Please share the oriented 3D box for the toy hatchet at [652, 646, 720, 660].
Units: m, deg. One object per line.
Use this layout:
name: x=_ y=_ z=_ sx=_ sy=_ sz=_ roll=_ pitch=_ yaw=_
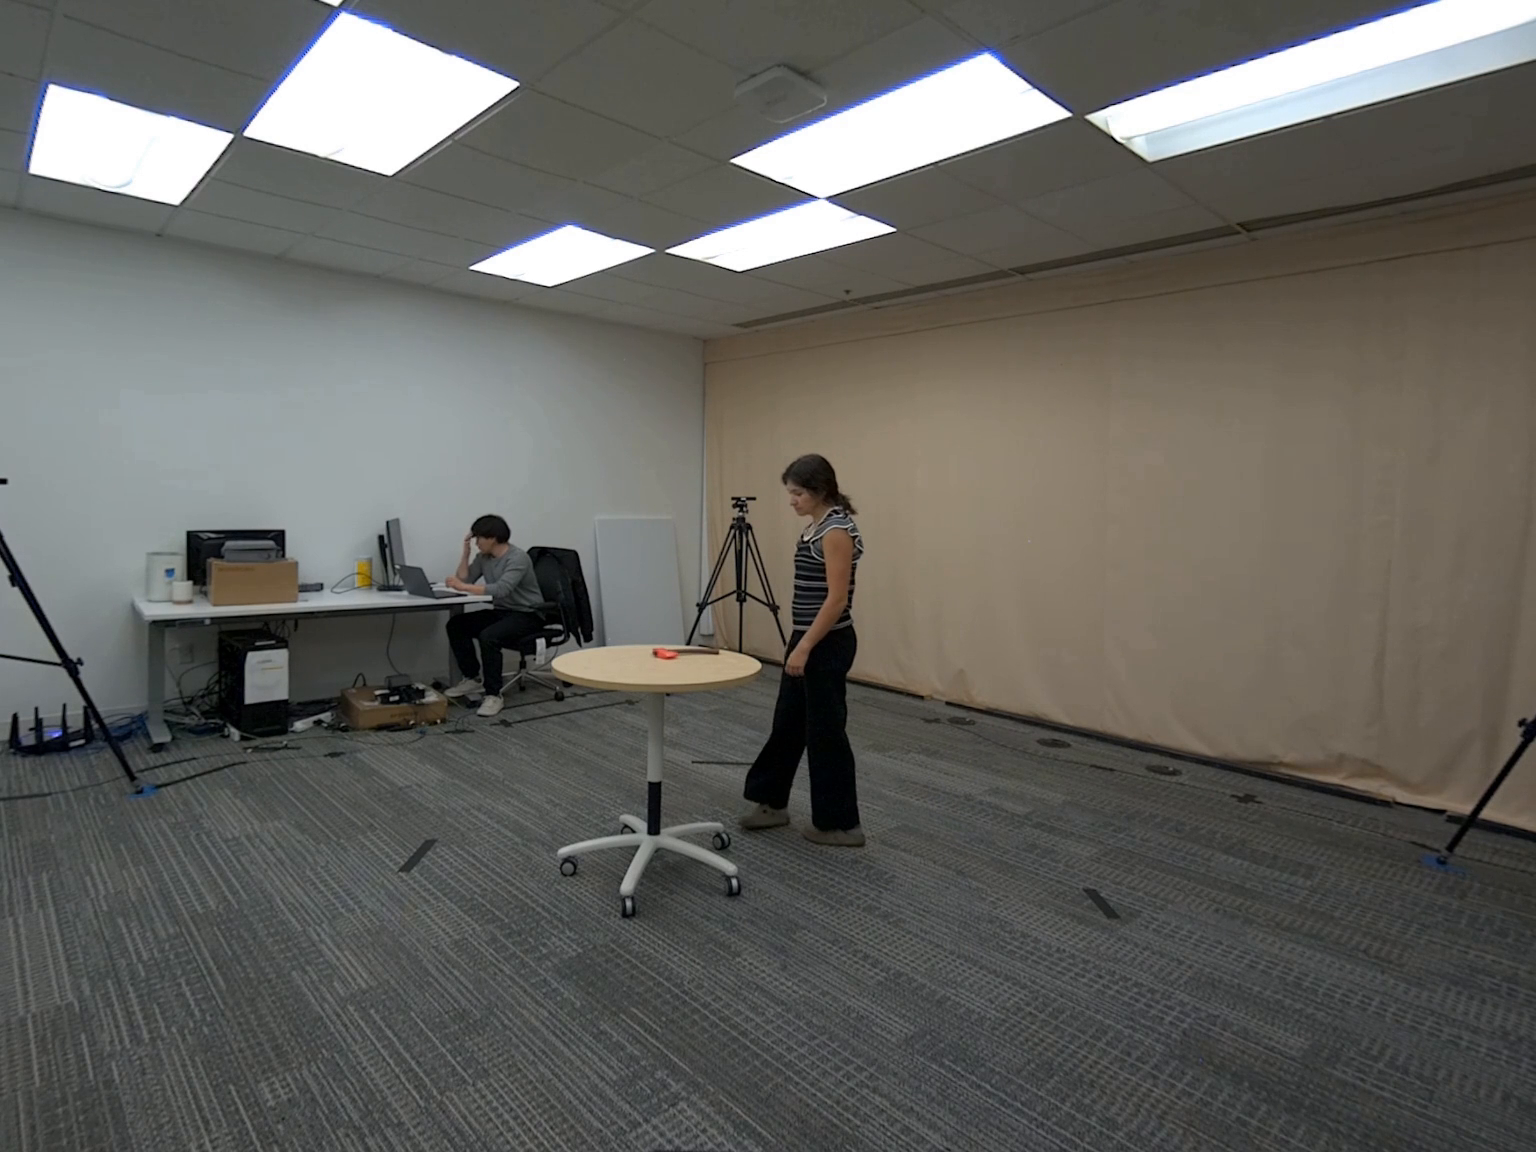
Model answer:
toy hatchet: x=-0.321 y=0.300 z=3.233 sx=0.267 sy=0.029 sz=0.133 roll=2 pitch=6 yaw=-13
